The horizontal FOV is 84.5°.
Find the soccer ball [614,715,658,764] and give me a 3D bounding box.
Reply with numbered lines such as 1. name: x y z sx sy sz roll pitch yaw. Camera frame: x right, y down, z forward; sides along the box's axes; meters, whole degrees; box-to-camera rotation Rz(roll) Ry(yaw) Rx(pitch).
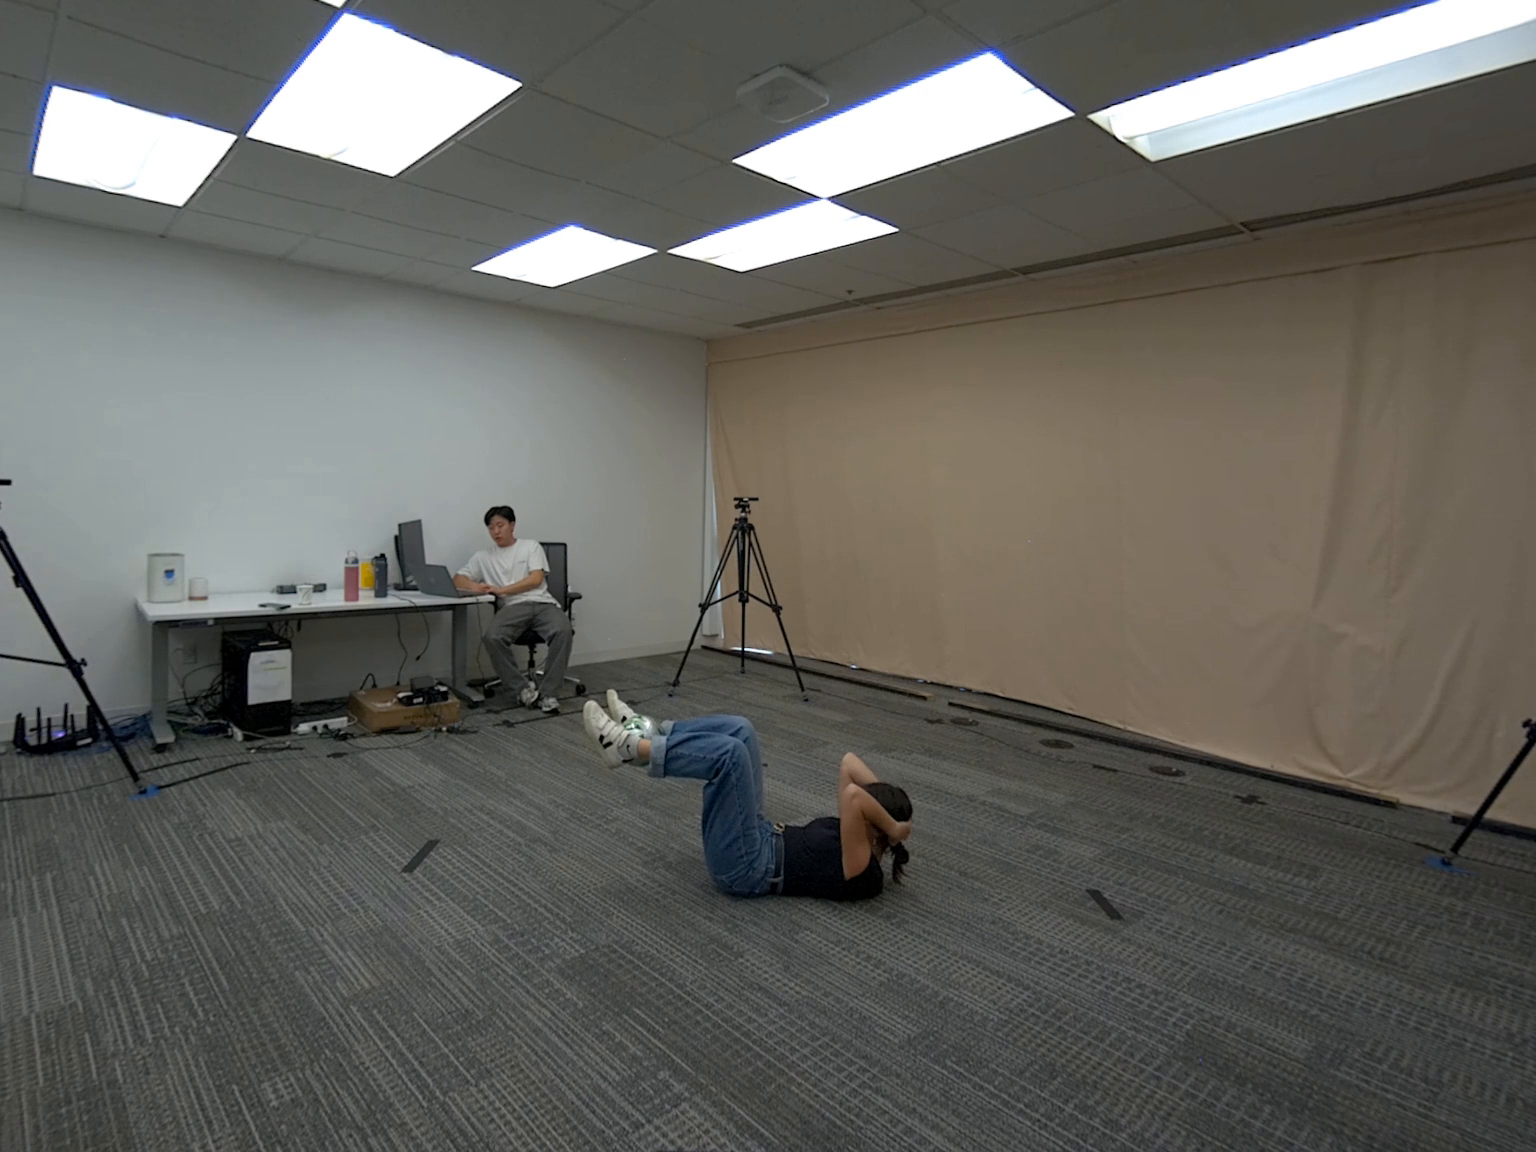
1. soccer ball: -0.488 0.615 3.094 0.187 0.186 0.188 1 7 -1
